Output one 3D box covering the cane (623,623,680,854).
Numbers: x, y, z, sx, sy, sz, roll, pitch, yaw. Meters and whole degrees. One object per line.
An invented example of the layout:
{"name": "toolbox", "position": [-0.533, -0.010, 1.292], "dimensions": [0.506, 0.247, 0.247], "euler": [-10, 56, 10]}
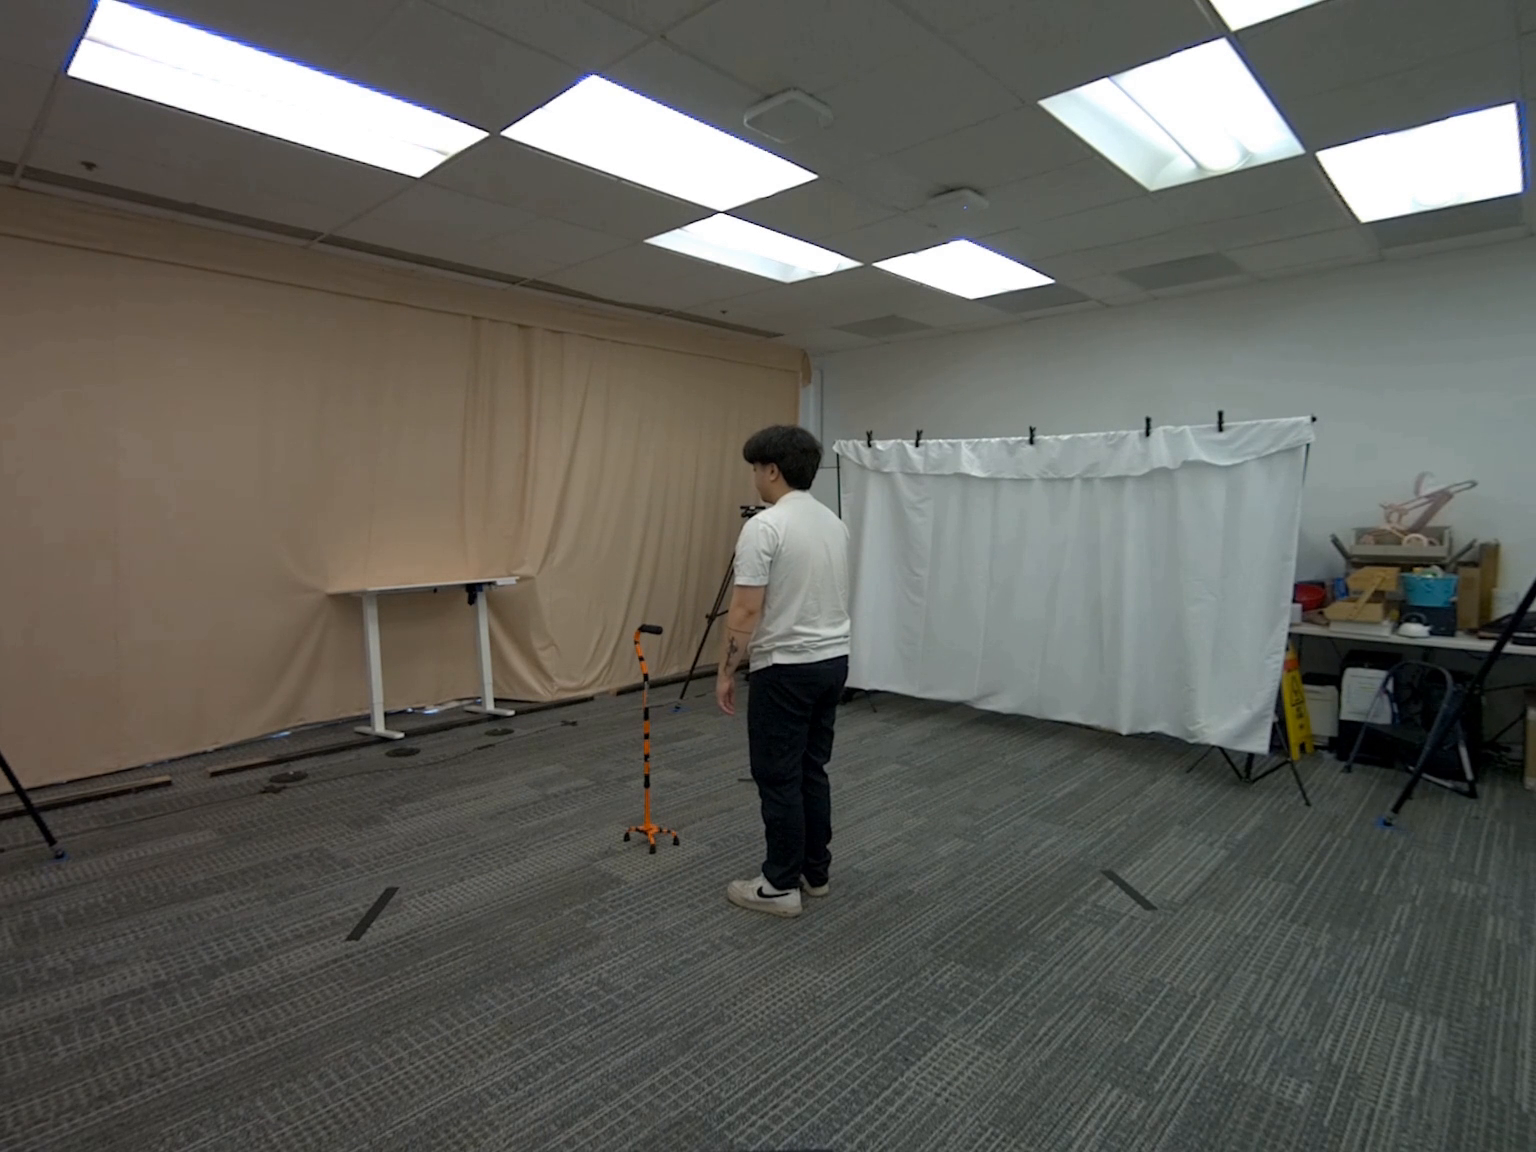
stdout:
{"name": "cane", "position": [-0.489, 0.653, 3.471], "dimensions": [0.213, 0.906, 0.147], "euler": [1, 3, 44]}
